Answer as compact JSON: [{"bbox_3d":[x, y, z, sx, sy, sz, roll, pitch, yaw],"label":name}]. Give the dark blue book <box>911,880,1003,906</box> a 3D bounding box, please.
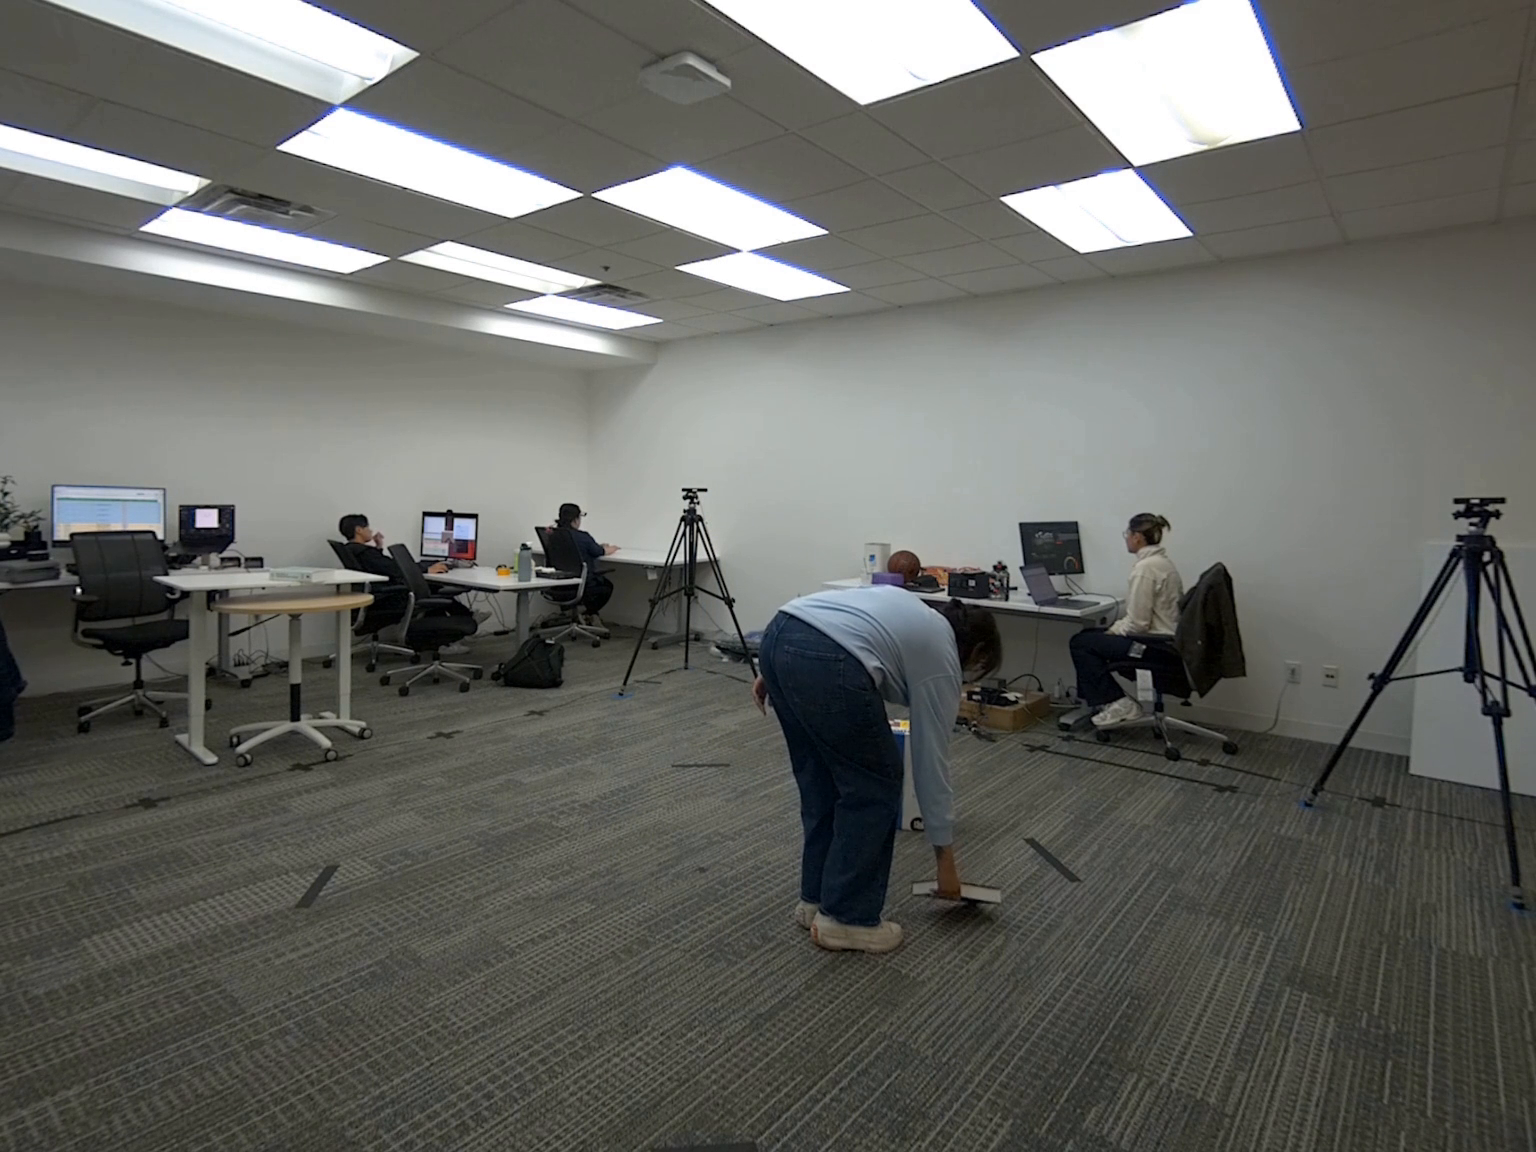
[{"bbox_3d":[0.619,1.045,2.818,0.241,0.046,0.163,12,-25,-14],"label":"dark blue book"}]
